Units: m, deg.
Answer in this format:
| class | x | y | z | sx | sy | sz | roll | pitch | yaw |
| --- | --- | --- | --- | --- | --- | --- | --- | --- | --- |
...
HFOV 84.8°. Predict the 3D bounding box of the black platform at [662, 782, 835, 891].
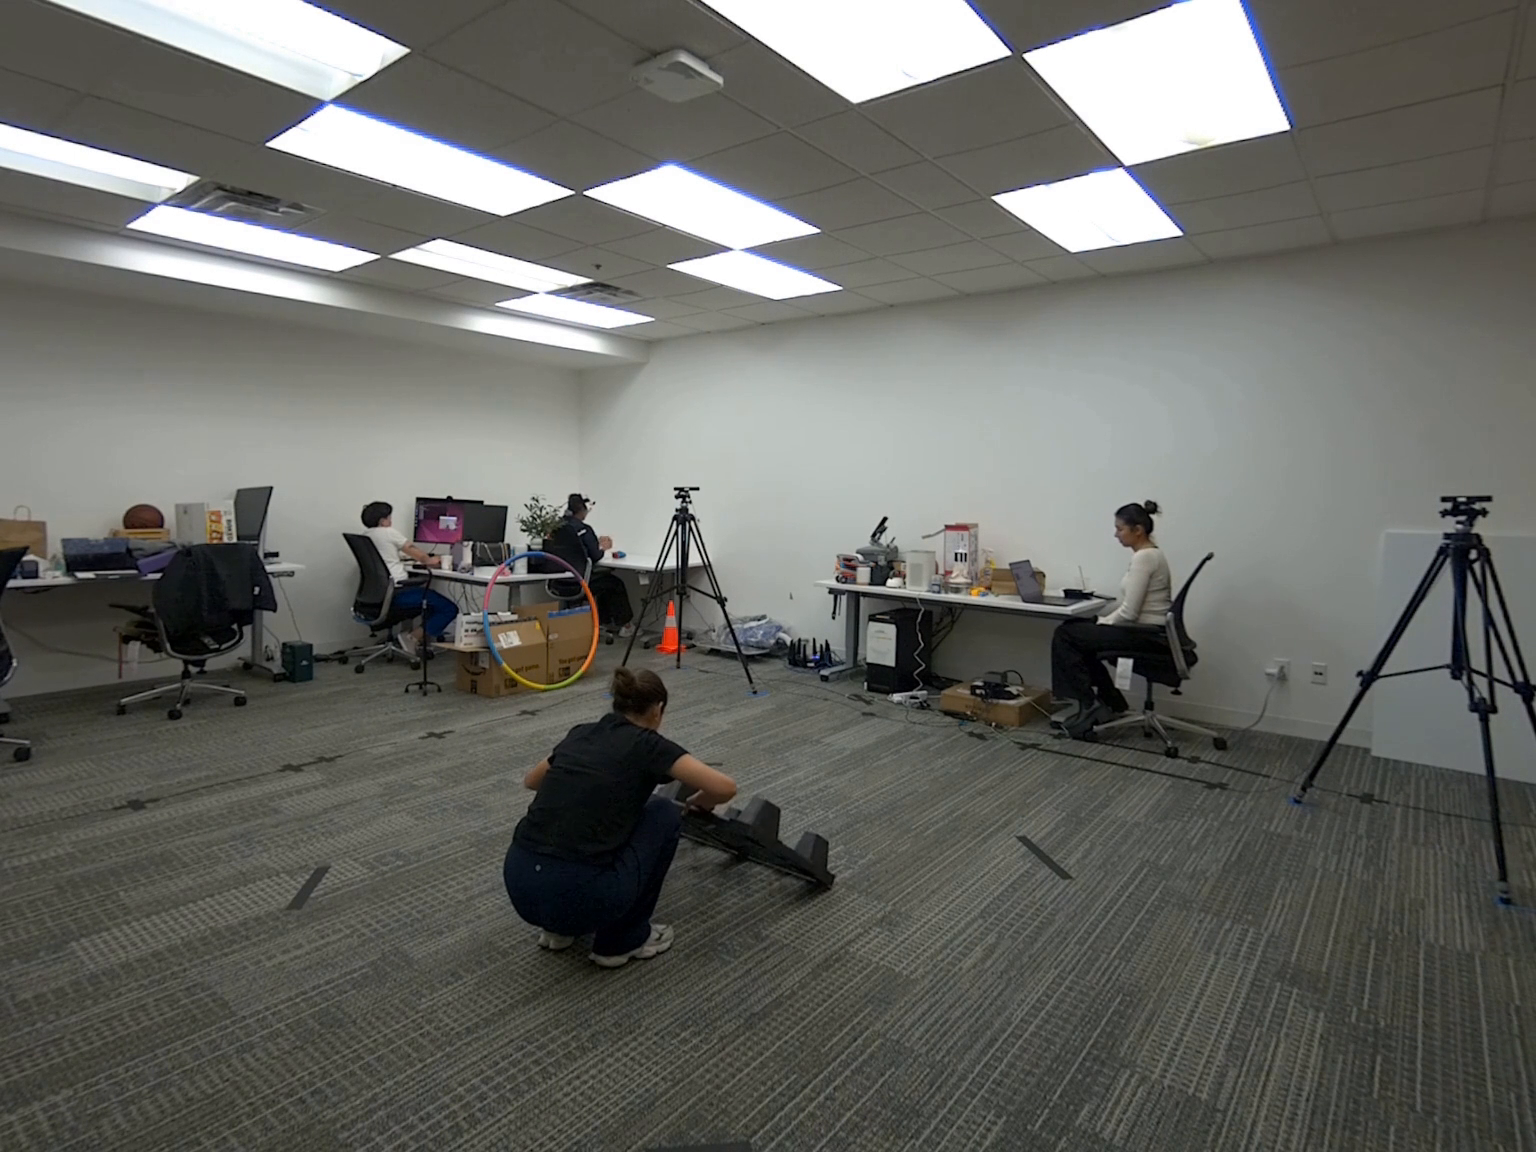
| class | x | y | z | sx | sy | sz | roll | pitch | yaw |
| --- | --- | --- | --- | --- | --- | --- | --- | --- | --- |
| black platform | -0.202 | 0.856 | 3.060 | 0.832 | 0.145 | 0.580 | 5 | -28 | 38 |
